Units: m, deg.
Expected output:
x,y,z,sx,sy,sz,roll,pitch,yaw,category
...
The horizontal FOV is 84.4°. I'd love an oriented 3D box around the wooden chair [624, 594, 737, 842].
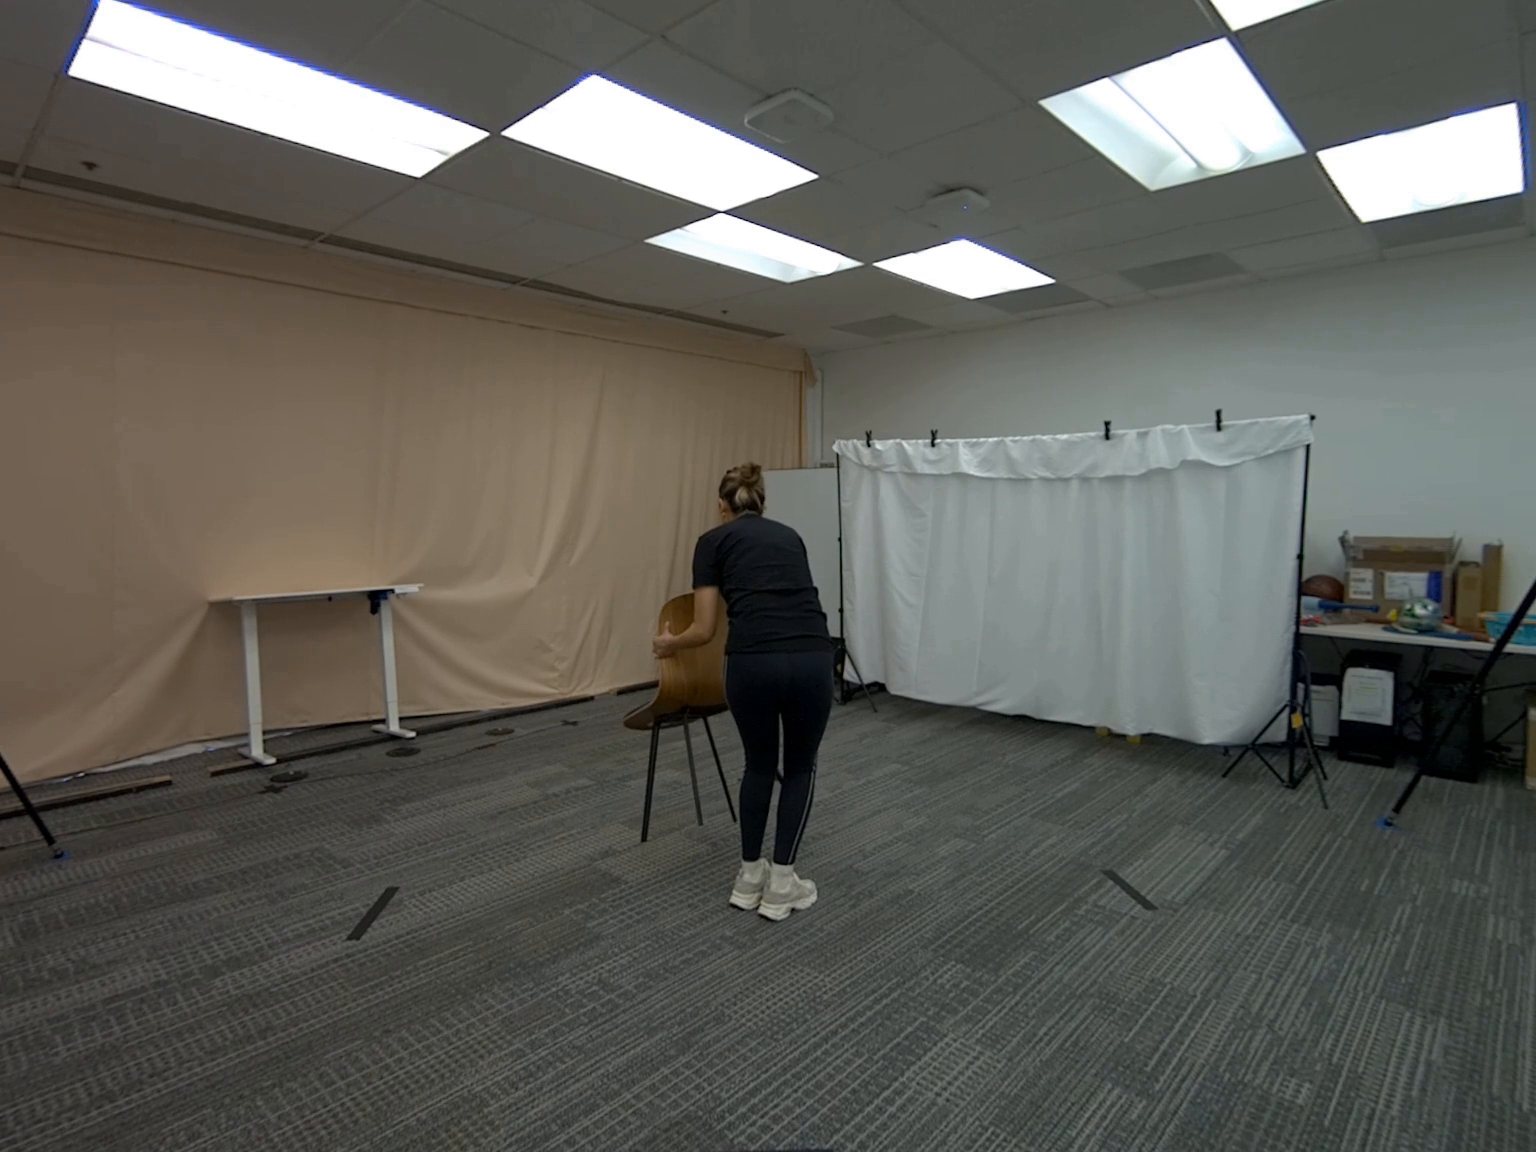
x,y,z,sx,sy,sz,roll,pitch,yaw,category
-0.292,0.546,3.341,0.464,0.888,0.532,-1,-18,-36,wooden chair
